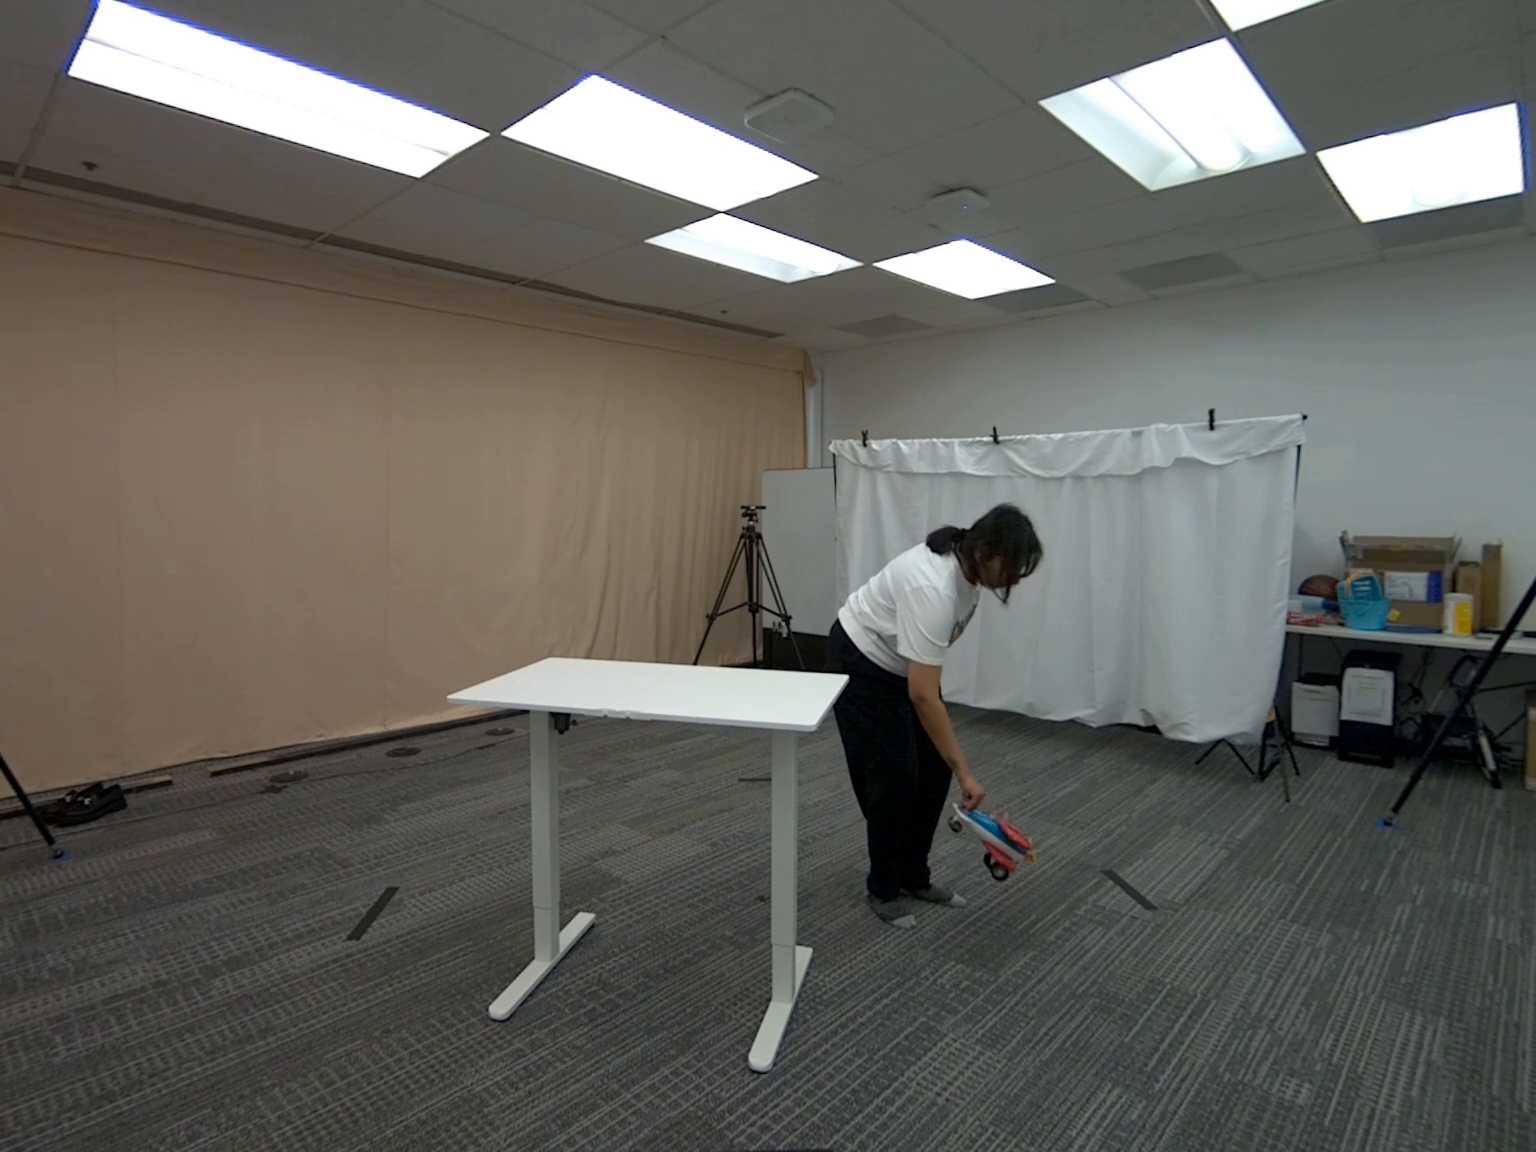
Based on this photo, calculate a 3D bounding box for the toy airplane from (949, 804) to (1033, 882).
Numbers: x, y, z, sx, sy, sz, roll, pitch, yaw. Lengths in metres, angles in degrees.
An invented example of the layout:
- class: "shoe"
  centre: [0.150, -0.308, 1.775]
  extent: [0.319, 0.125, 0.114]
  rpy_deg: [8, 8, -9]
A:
- class: "toy airplane"
  centre: [0.696, 0.802, 2.589]
  extent: [0.251, 0.156, 0.258]
  rpy_deg: [46, 3, -29]
